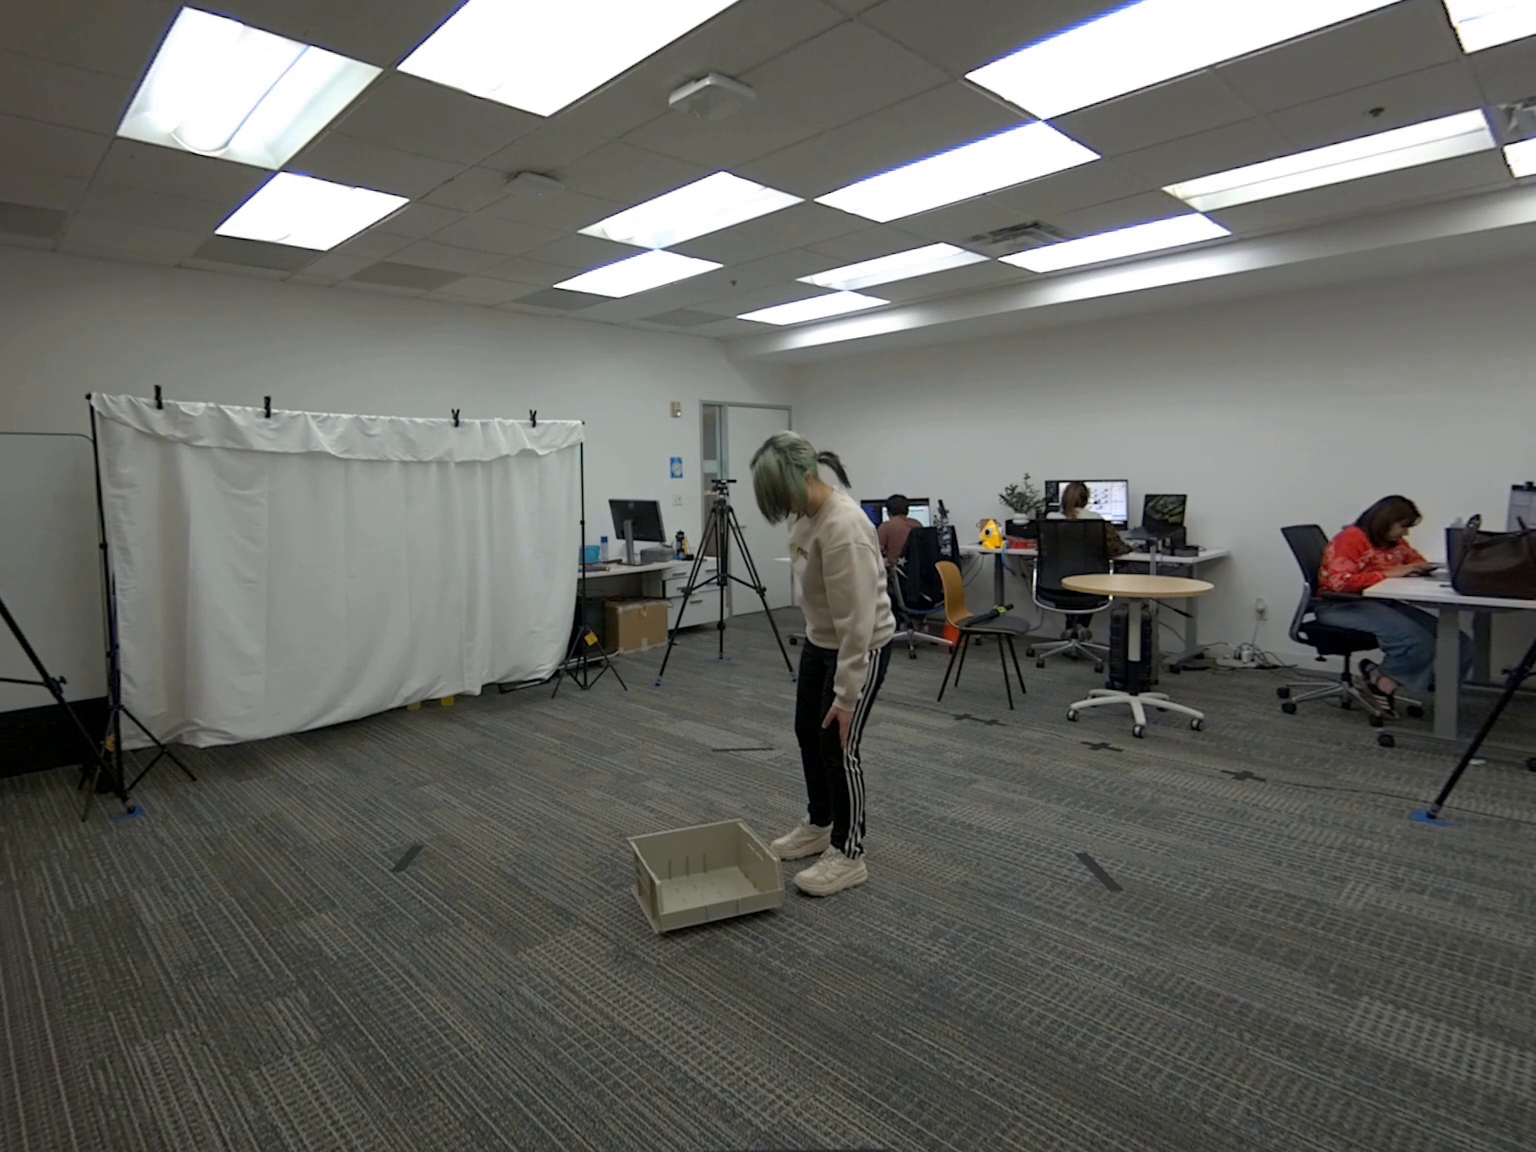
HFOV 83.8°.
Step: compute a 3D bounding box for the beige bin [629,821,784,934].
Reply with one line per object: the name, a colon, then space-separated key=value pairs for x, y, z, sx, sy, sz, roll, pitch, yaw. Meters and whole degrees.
beige bin: x=-0.208 y=0.994 z=2.823 sx=0.414 sy=0.188 sz=0.386 roll=-4 pitch=6 yaw=-22
